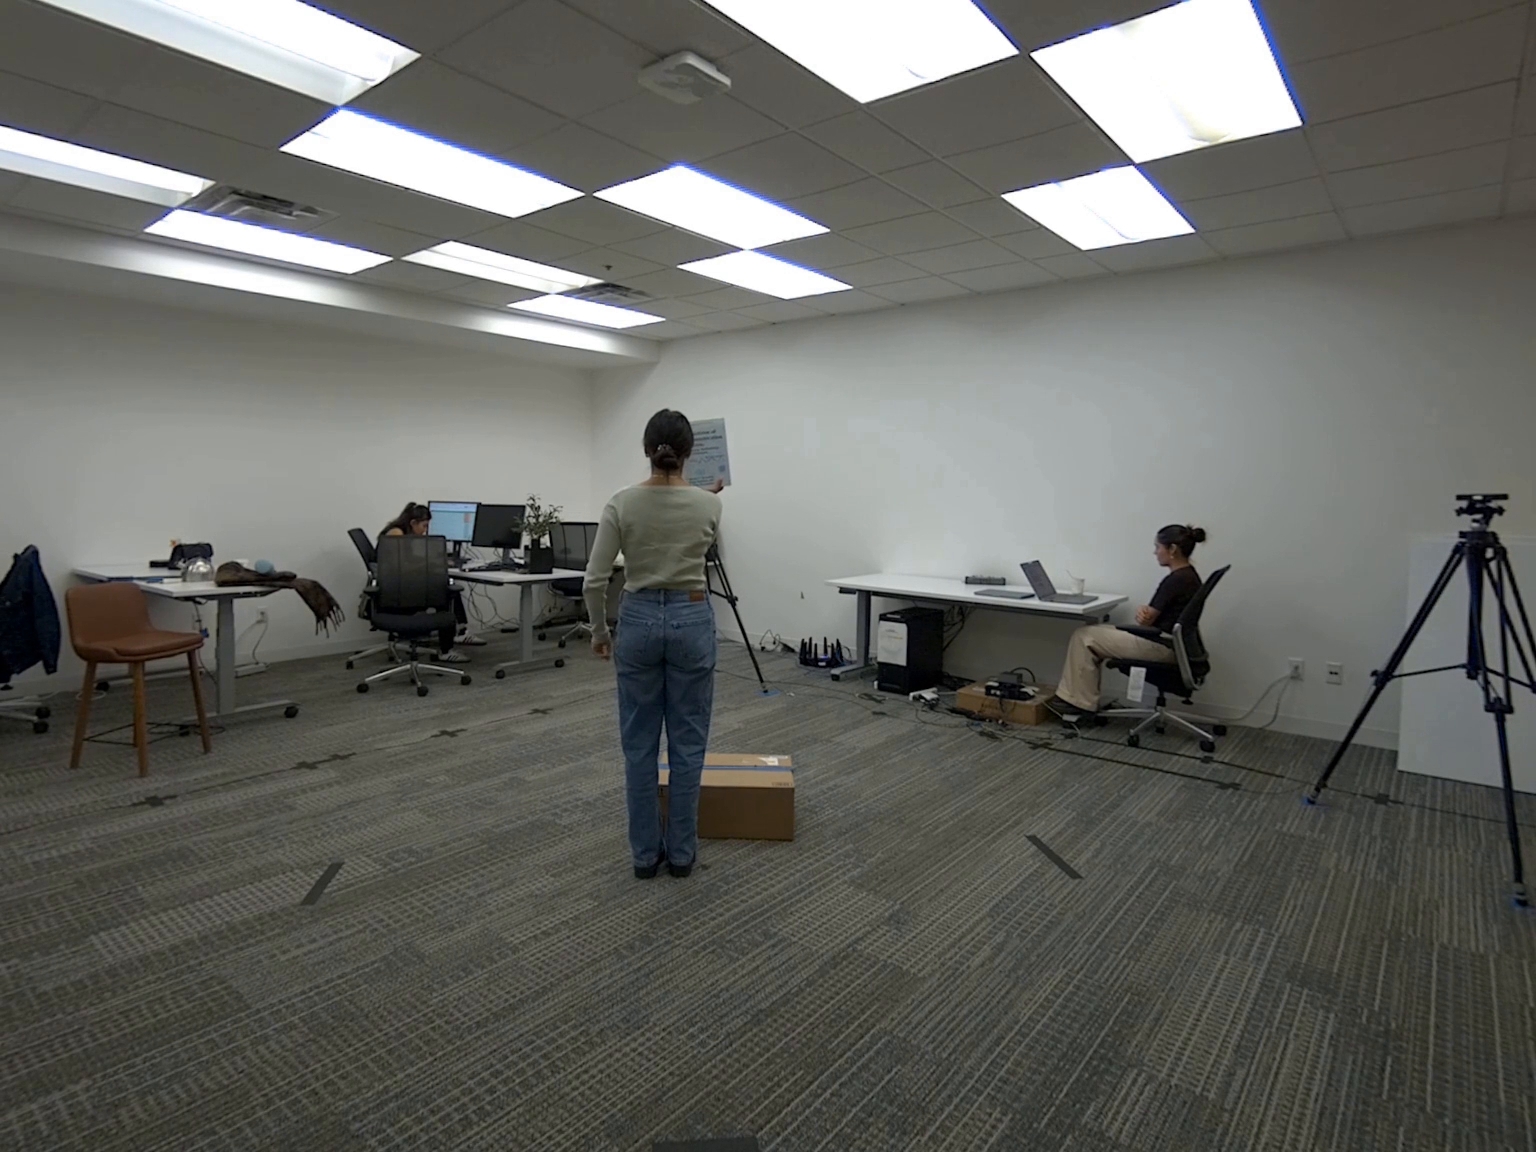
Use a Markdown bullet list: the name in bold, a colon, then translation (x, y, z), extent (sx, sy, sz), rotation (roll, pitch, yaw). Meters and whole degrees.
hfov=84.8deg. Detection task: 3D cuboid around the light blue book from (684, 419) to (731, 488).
- **light blue book**: translation (-0.264, -0.470, 3.259), extent (0.190, 0.259, 0.060), rotation (-7, 5, -6)
